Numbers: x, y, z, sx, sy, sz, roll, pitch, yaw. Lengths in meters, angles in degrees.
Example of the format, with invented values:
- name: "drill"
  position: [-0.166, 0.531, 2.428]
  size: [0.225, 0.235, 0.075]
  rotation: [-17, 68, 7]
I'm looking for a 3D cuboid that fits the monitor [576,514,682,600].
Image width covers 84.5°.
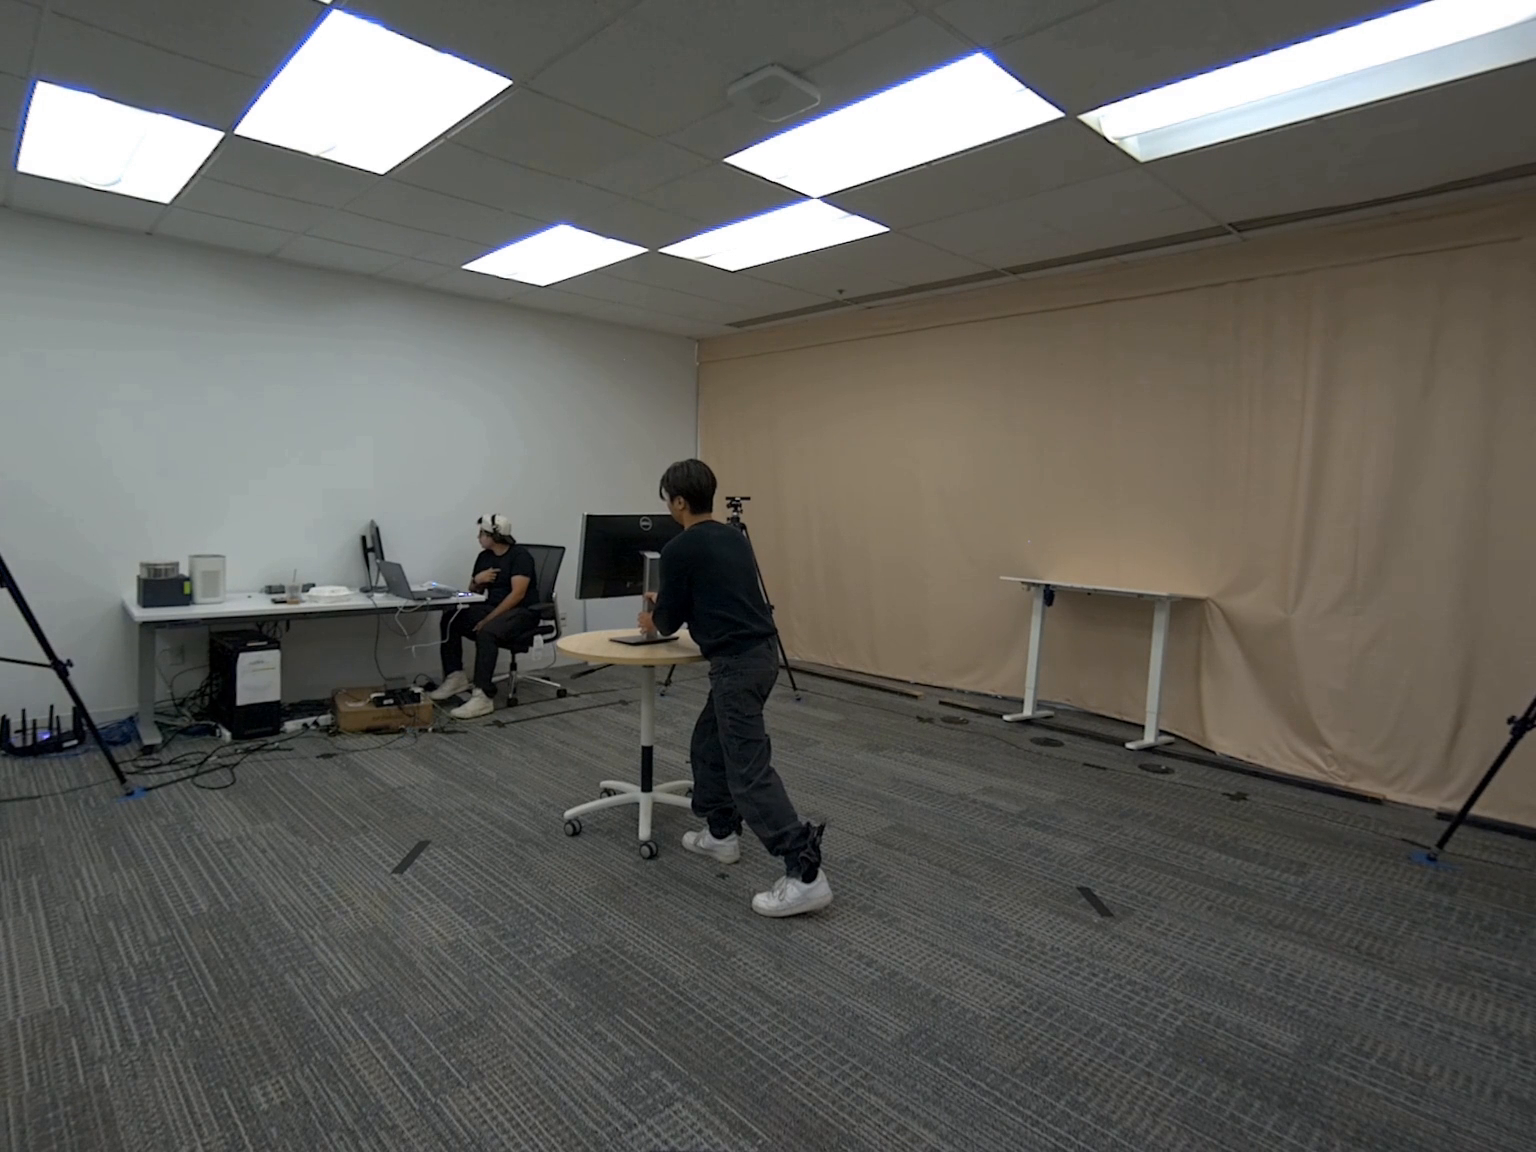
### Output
- name: "monitor"
  position: [-0.536, 0.001, 3.574]
  size: [0.518, 0.516, 0.178]
  rotation: [-5, -1, -42]
